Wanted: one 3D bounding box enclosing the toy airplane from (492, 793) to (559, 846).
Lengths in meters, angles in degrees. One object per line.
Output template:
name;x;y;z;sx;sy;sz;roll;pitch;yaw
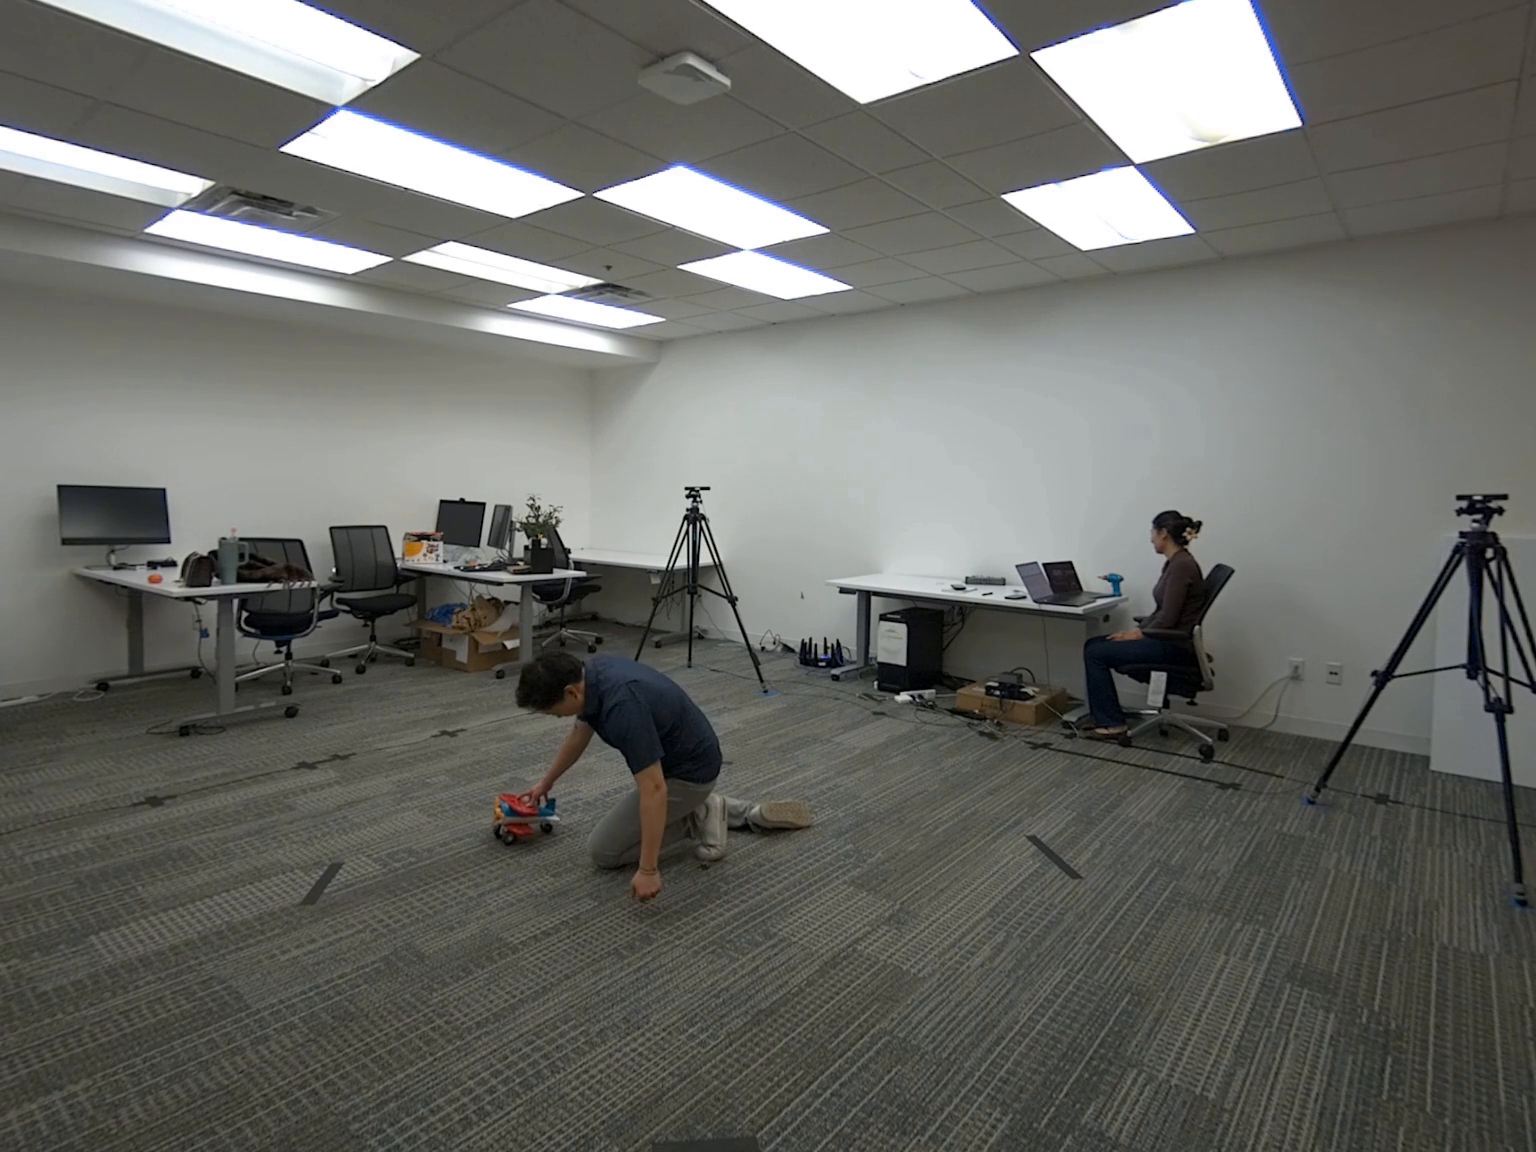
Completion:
toy airplane;-0.989;0.957;3.386;0.257;0.156;0.254;2;6;23
